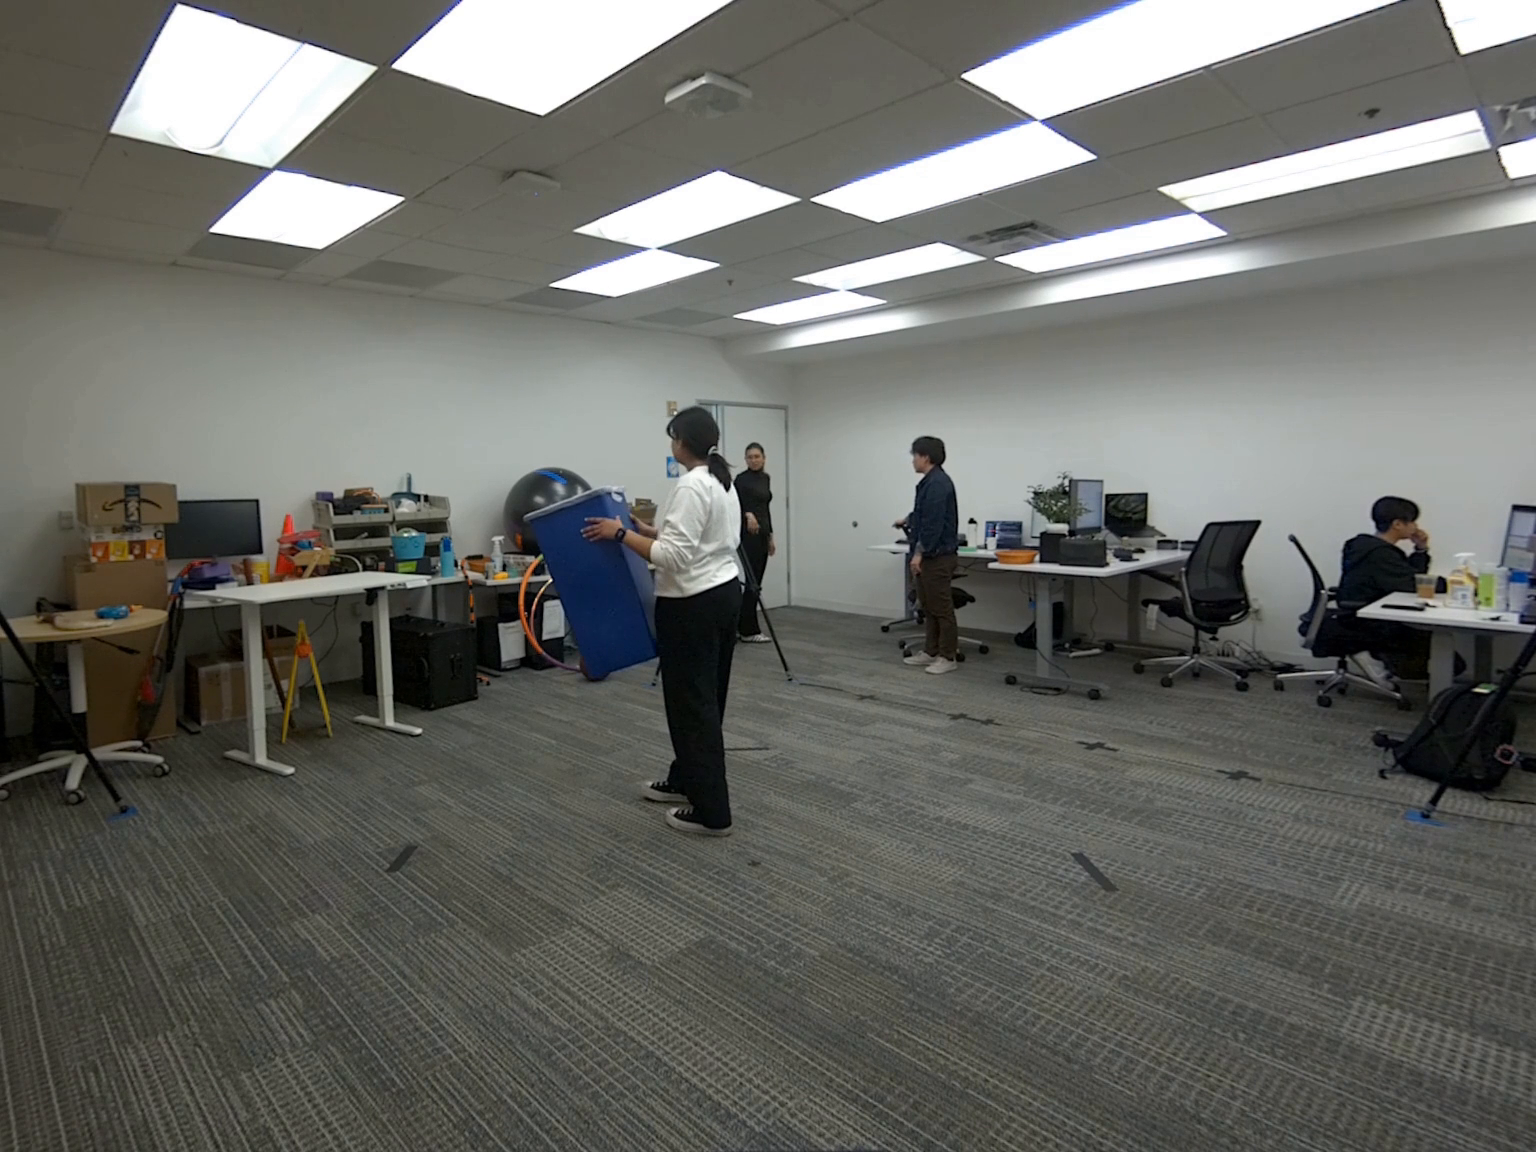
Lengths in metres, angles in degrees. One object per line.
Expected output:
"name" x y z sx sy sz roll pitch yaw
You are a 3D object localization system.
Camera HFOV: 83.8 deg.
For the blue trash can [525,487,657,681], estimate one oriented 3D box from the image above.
"blue trash can" -0.693 0.019 3.586 0.375 0.713 0.377 -18 1 6
